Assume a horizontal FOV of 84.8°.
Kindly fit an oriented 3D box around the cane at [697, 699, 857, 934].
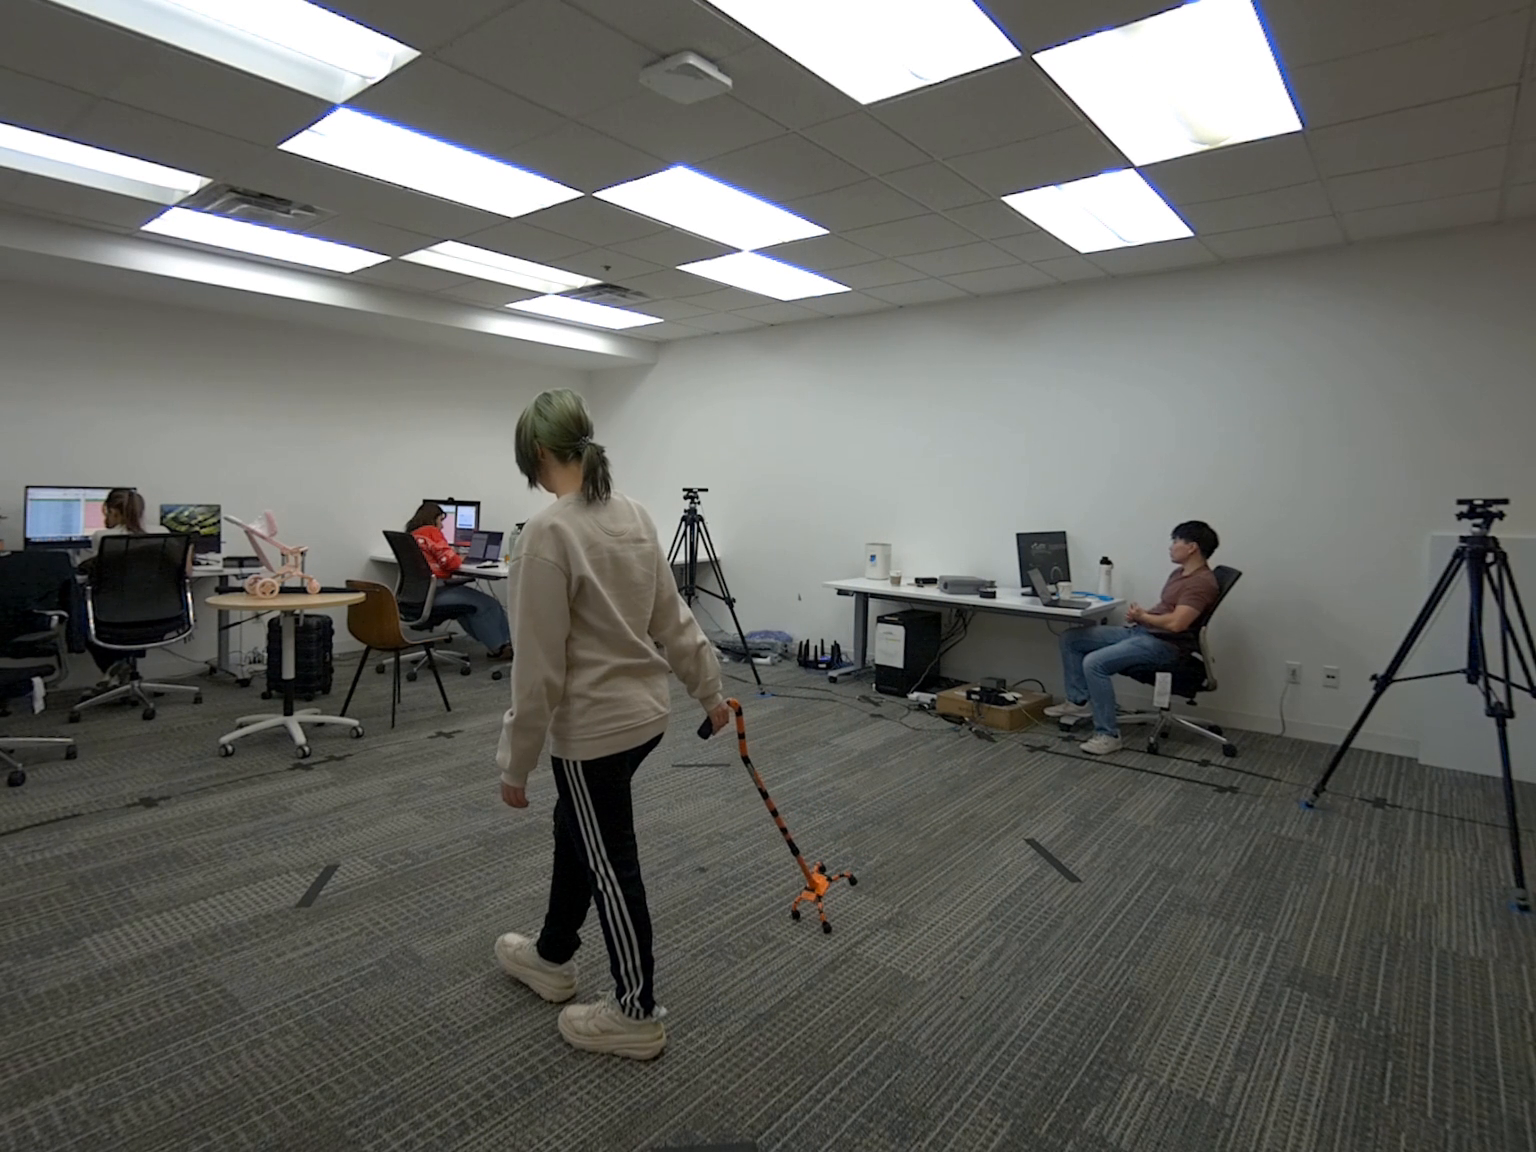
[{"bbox_3d":[0.023,0.705,2.562,0.157,0.877,0.206,5,41,39],"label":"cane"}]
